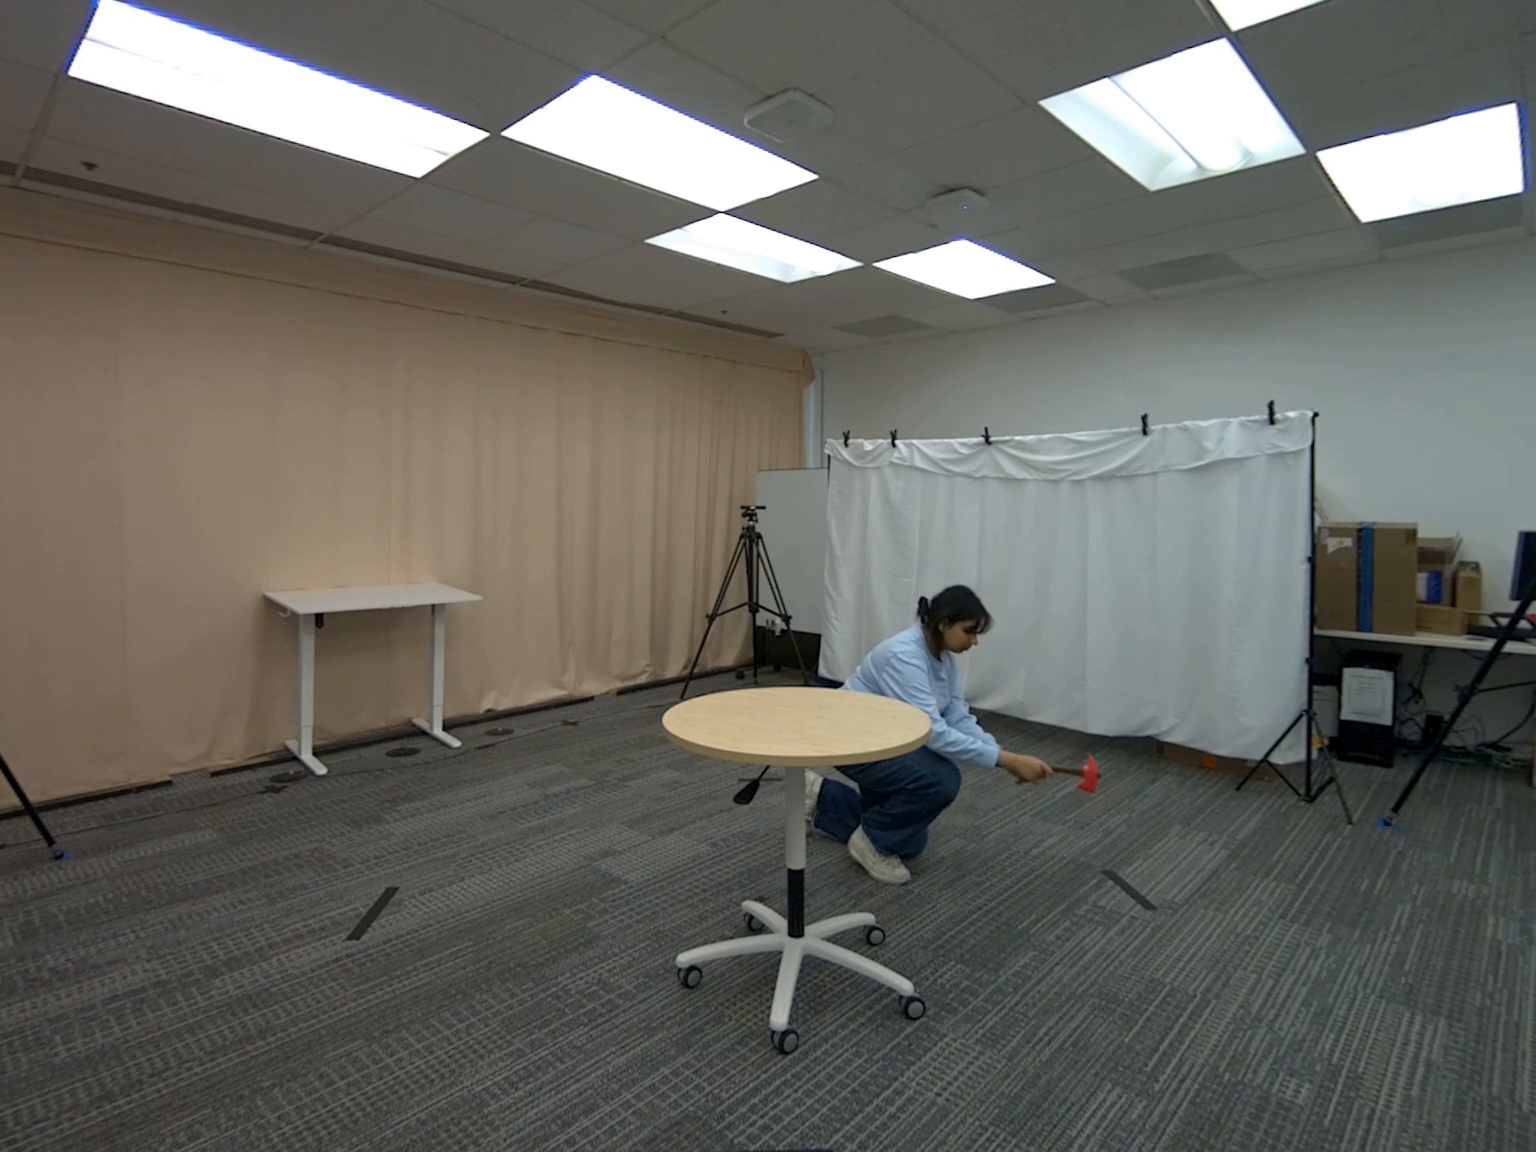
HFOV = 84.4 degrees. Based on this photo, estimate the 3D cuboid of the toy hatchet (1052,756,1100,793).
[{"bbox_3d":[0.991,0.696,2.871,0.275,0.131,0.029,-24,1,34],"label":"toy hatchet"}]
